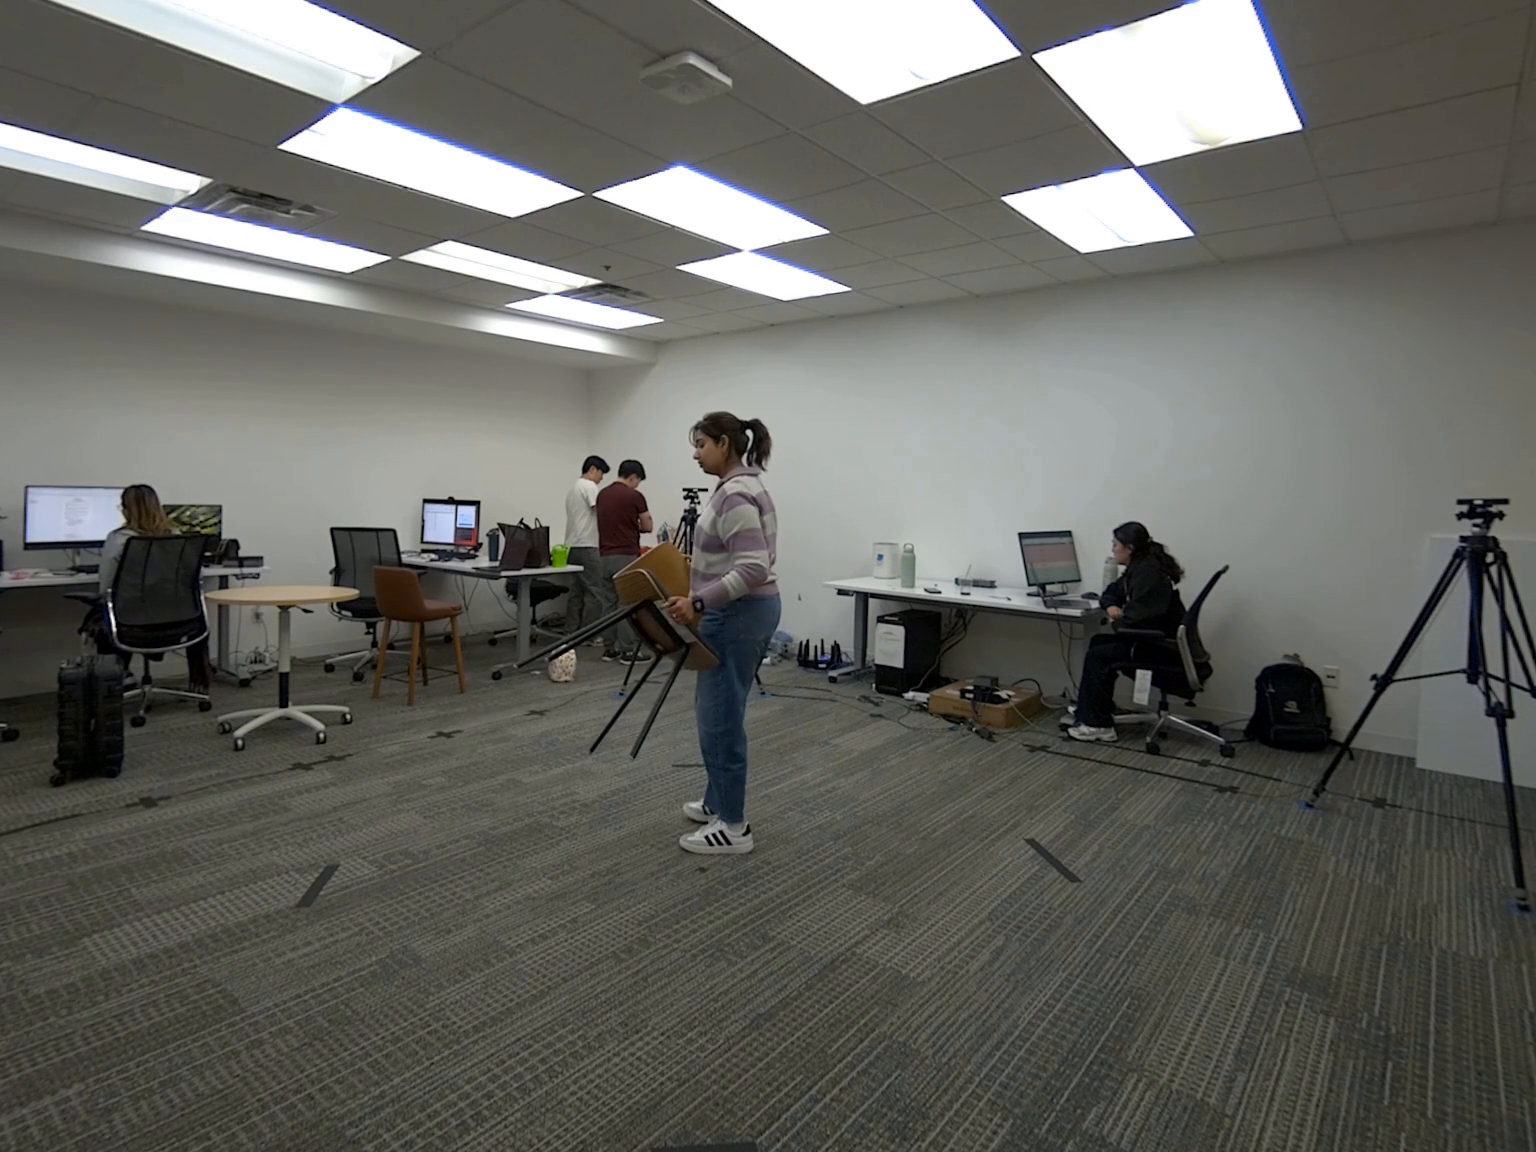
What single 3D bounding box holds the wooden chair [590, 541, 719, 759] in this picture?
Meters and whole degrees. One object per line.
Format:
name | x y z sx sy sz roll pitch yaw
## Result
wooden chair | -0.442 0.207 3.194 0.876 0.471 0.532 -47 14 -31
